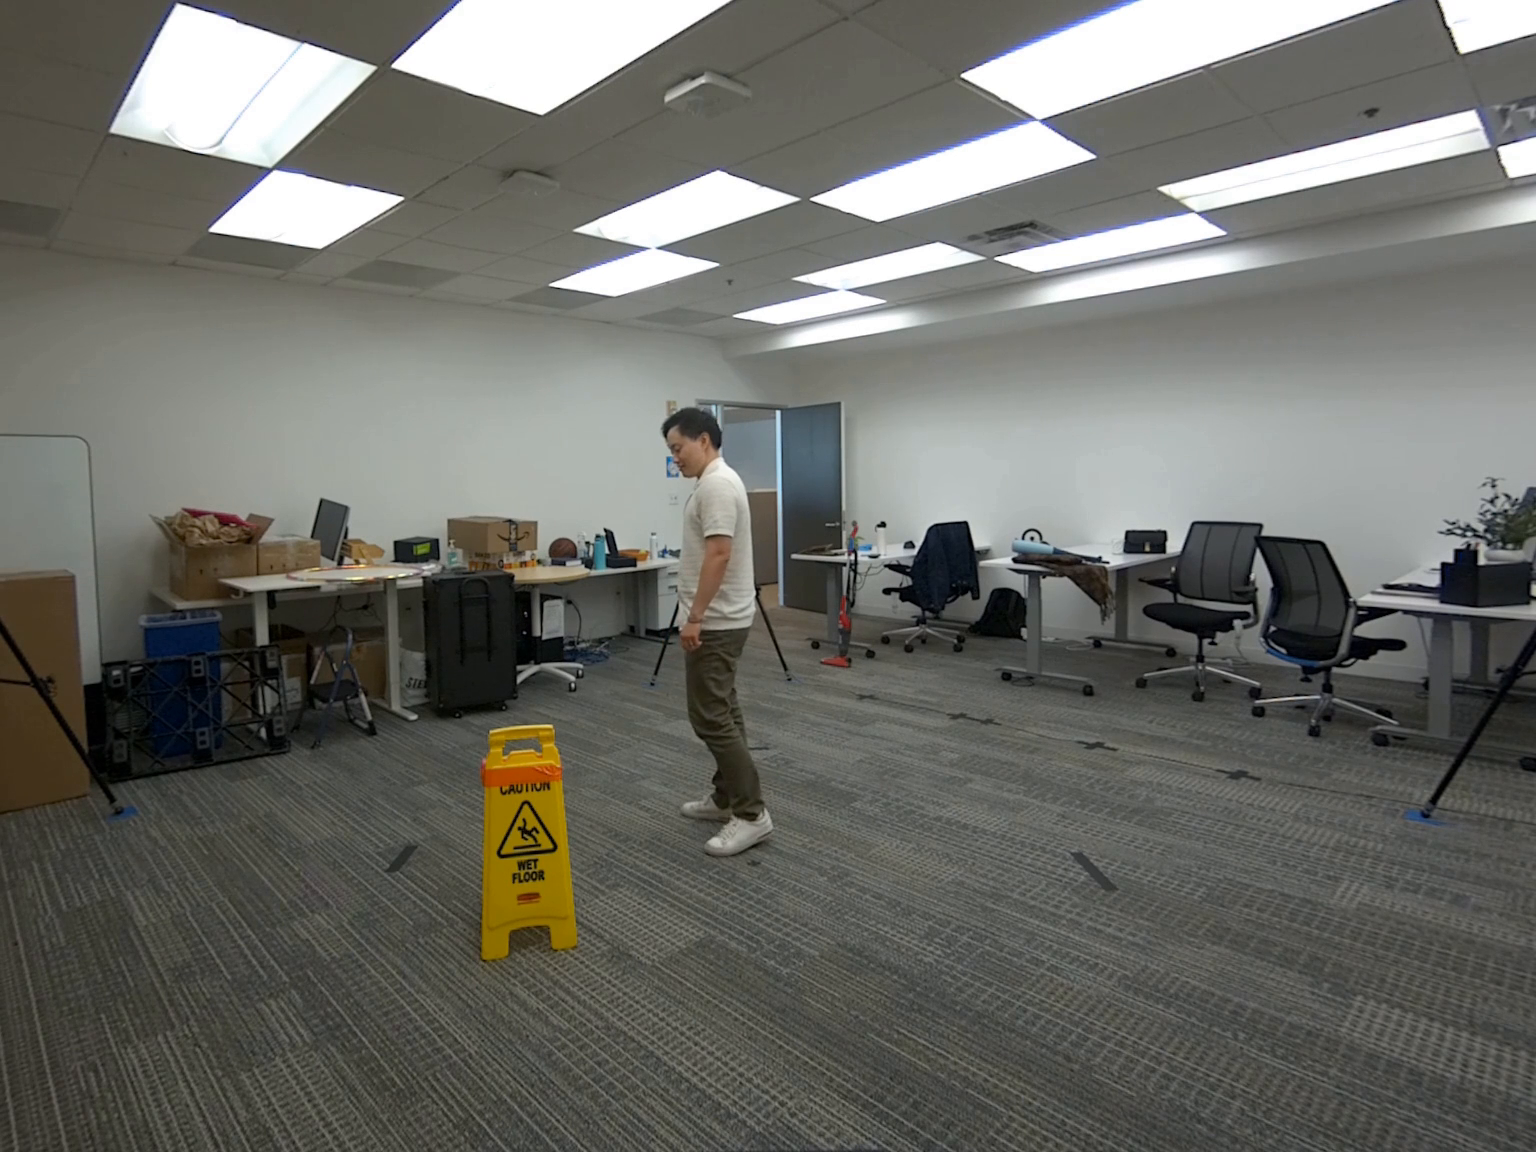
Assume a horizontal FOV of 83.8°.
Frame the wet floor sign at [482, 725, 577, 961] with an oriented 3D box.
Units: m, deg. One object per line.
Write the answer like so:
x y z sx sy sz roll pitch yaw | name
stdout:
-0.754 0.786 2.658 0.278 0.644 0.295 -3 4 -16 | wet floor sign
